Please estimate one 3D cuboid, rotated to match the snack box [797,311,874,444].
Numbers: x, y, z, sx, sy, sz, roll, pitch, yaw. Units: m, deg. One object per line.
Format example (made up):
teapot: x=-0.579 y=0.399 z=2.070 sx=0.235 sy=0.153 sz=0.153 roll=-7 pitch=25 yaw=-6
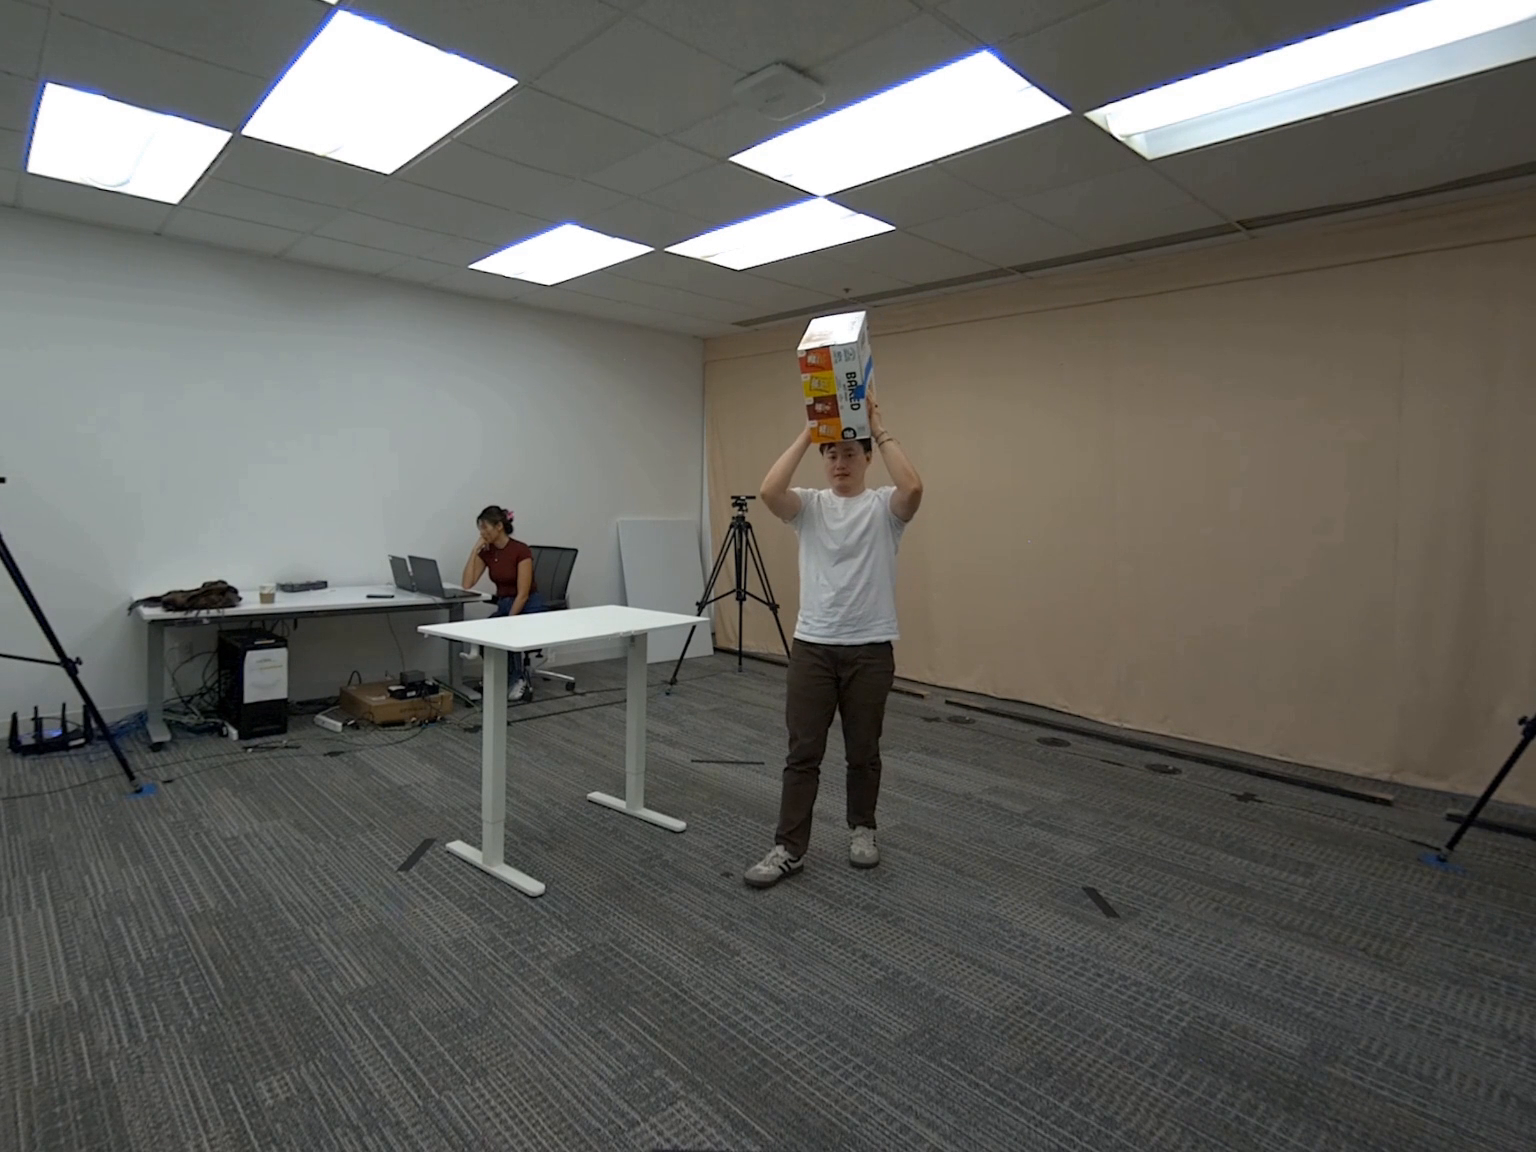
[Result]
snack box: x=0.249 y=-0.717 z=3.011 sx=0.208 sy=0.333 sz=0.409 roll=-4 pitch=29 yaw=14
